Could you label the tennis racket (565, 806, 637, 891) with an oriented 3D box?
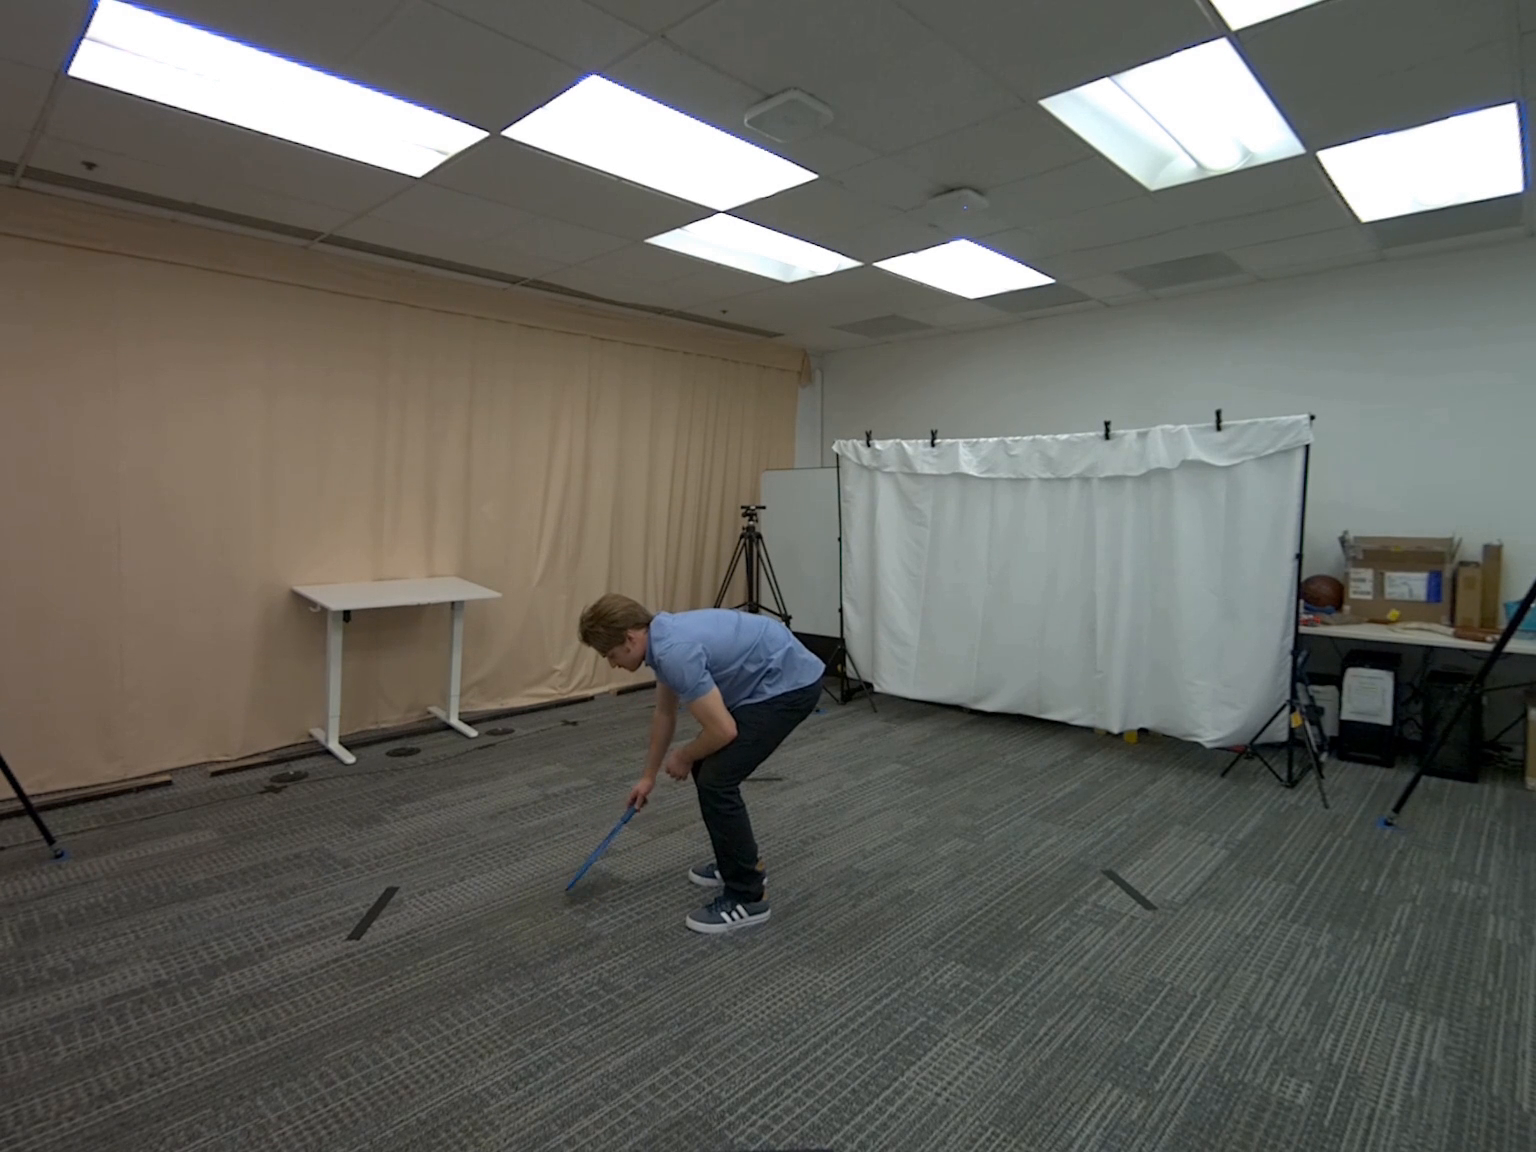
[{"bbox_3d":[-0.584,0.967,3.065,0.430,0.031,0.215,-52,5,-35],"label":"tennis racket"}]
